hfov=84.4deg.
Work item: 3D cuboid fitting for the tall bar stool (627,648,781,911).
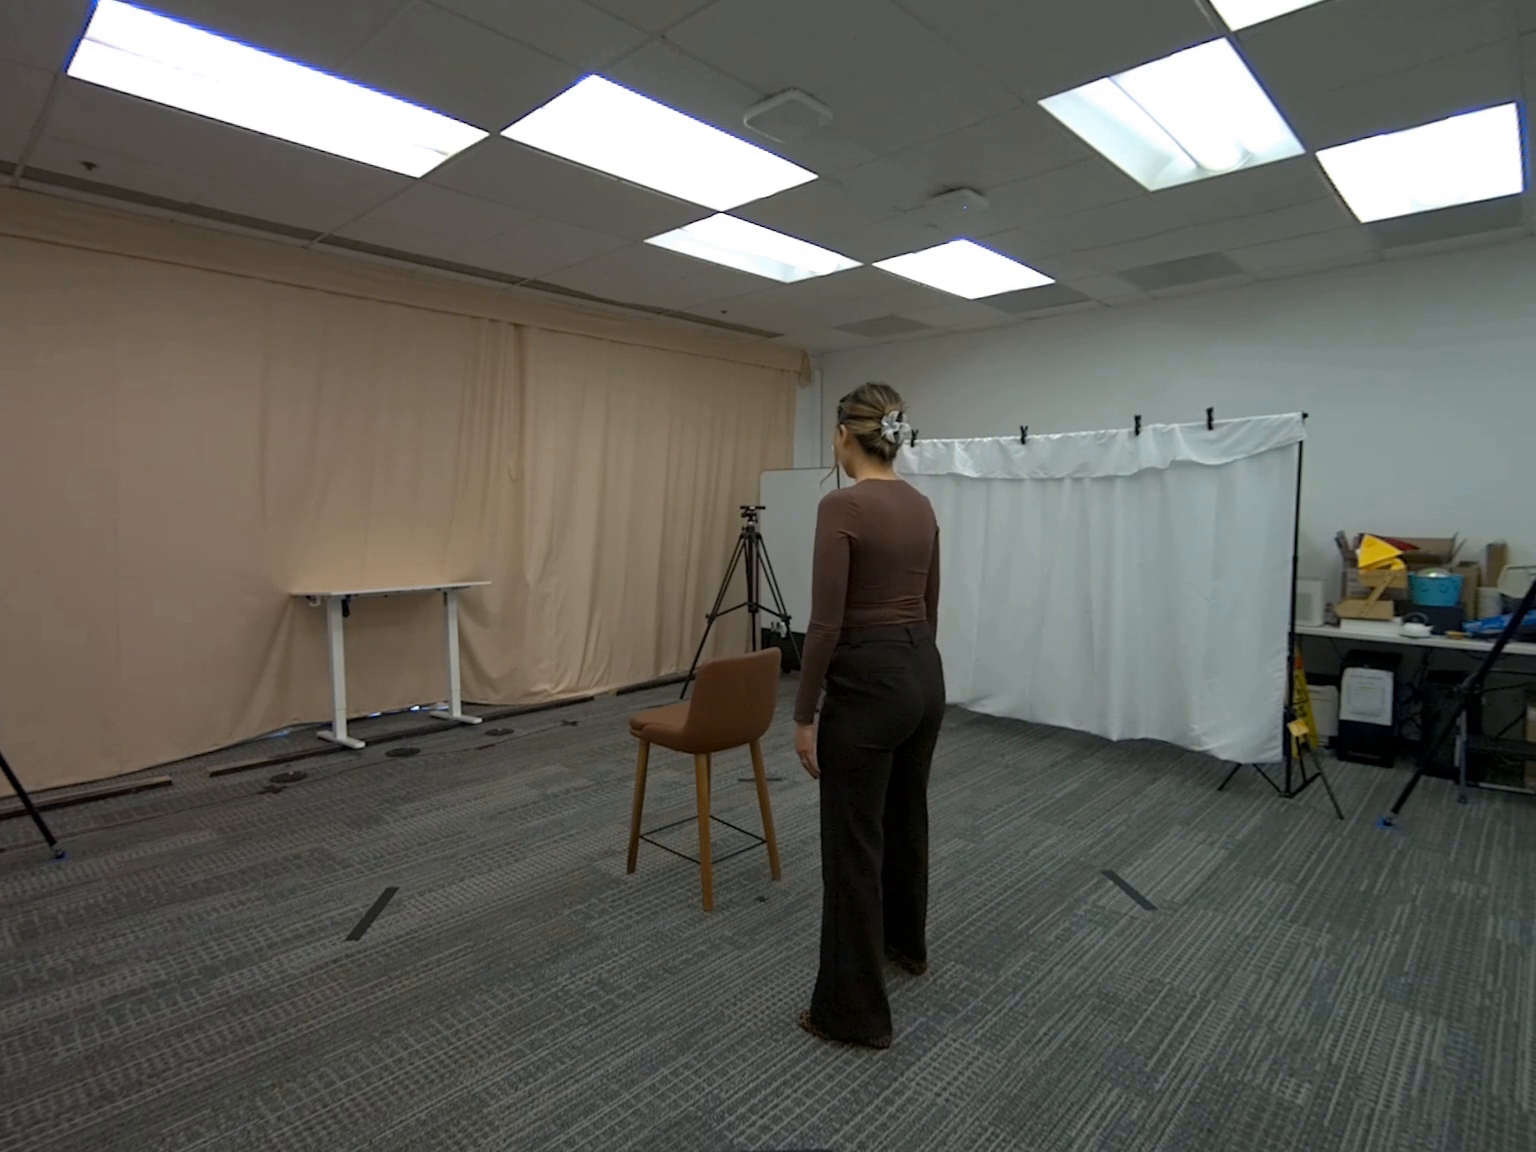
[{"bbox_3d":[-0.237,0.697,3.155,0.442,0.887,0.483,-3,6,-45],"label":"tall bar stool"}]
